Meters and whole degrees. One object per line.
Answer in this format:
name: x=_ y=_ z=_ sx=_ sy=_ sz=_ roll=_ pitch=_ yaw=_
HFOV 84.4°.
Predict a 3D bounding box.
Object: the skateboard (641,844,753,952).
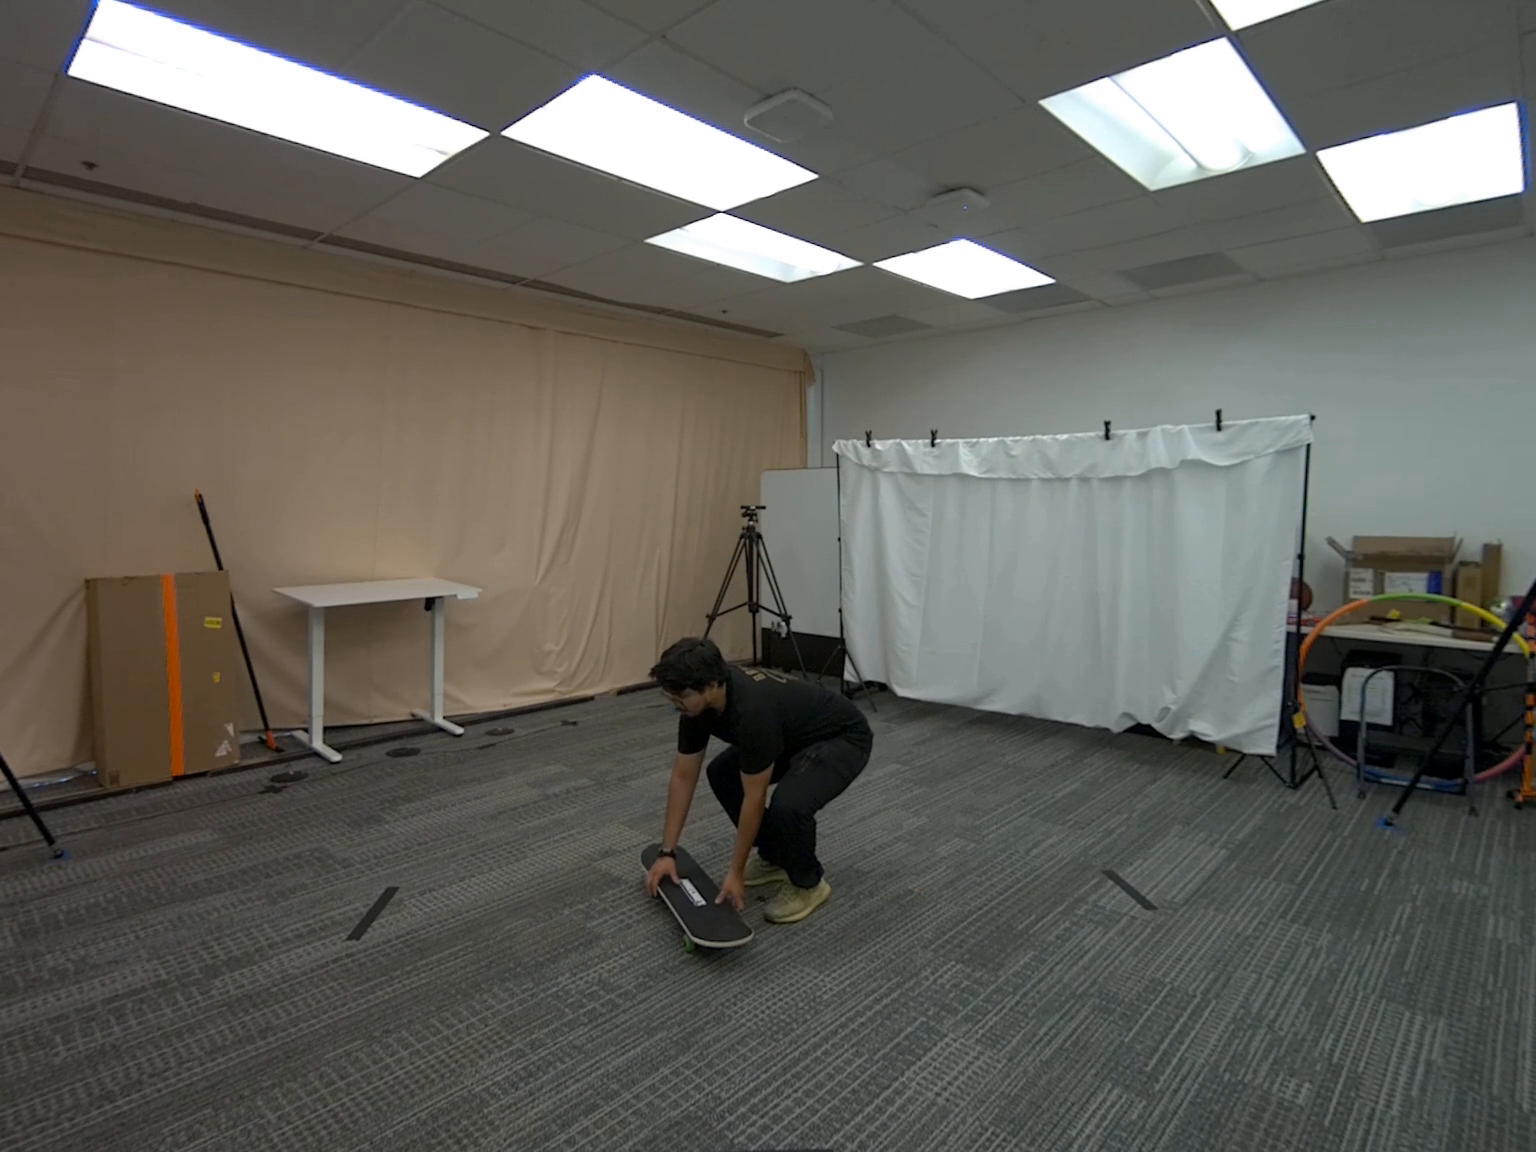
skateboard: x=-0.258 y=1.098 z=2.840 sx=0.189 sy=0.110 sz=0.805 roll=-1 pitch=4 yaw=-25
